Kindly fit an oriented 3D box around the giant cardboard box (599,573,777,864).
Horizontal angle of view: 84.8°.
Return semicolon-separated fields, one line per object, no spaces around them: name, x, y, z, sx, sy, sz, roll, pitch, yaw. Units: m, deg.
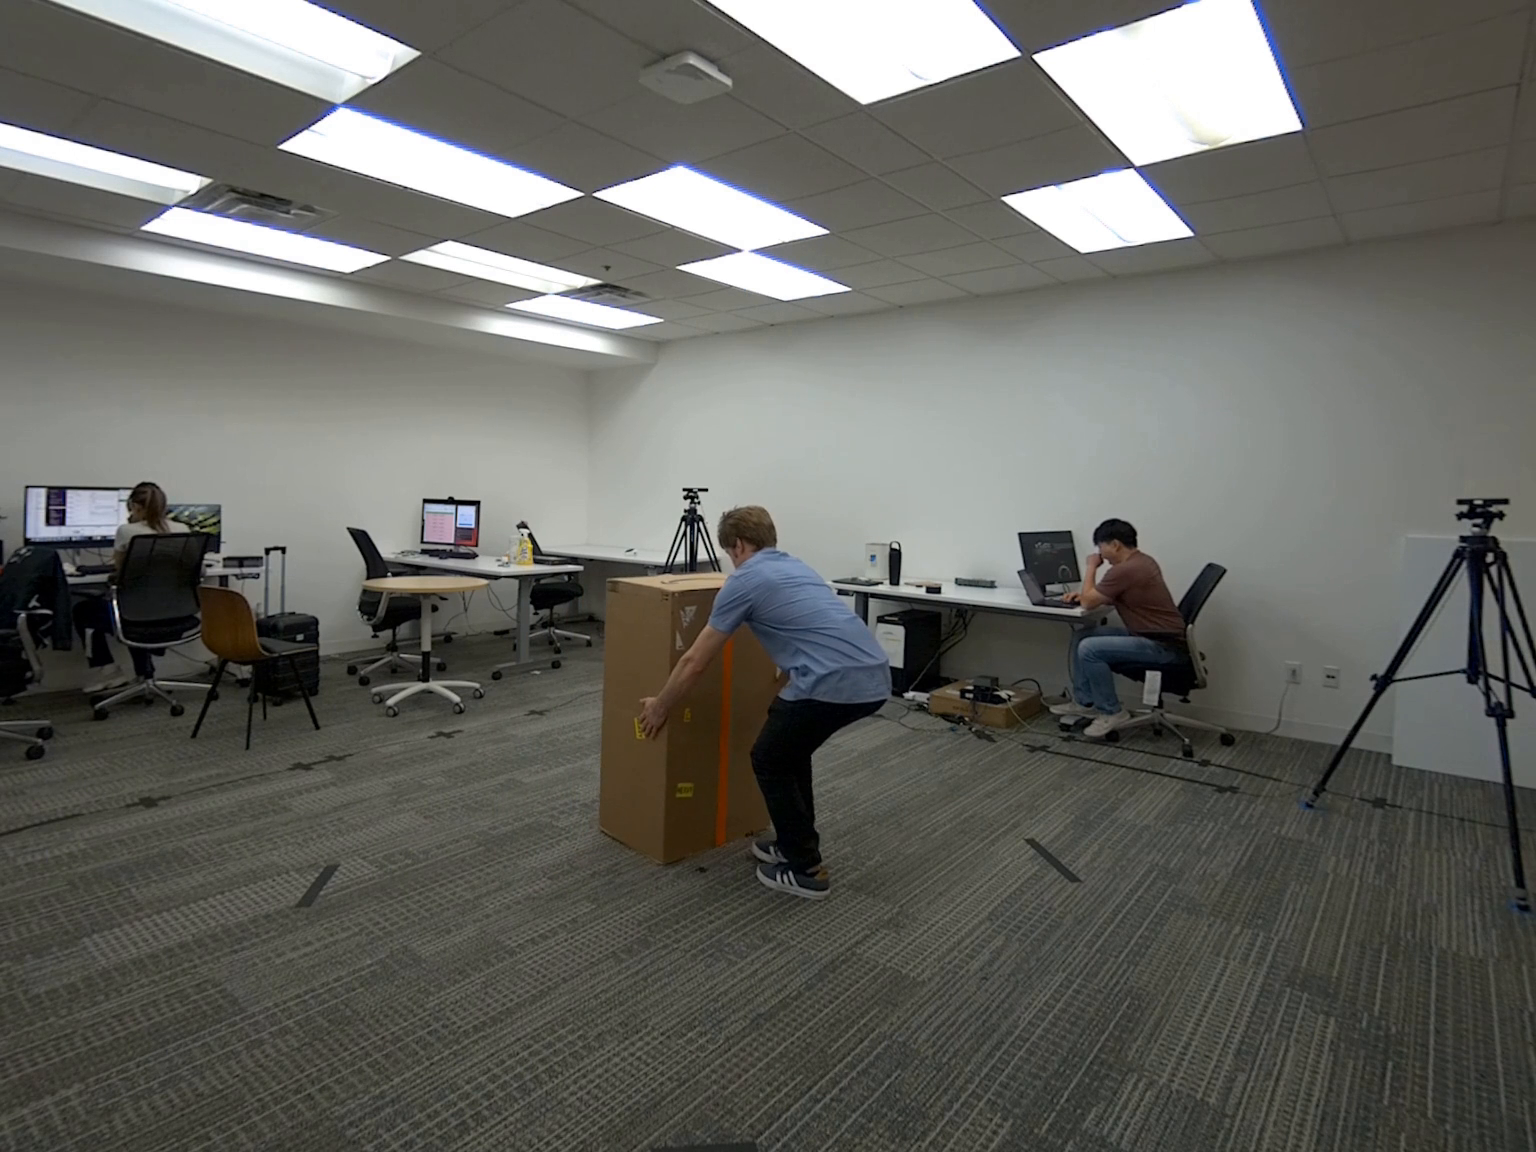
giant cardboard box;-0.328;0.524;3.445;0.560;1.022;0.441;-2;5;-44
